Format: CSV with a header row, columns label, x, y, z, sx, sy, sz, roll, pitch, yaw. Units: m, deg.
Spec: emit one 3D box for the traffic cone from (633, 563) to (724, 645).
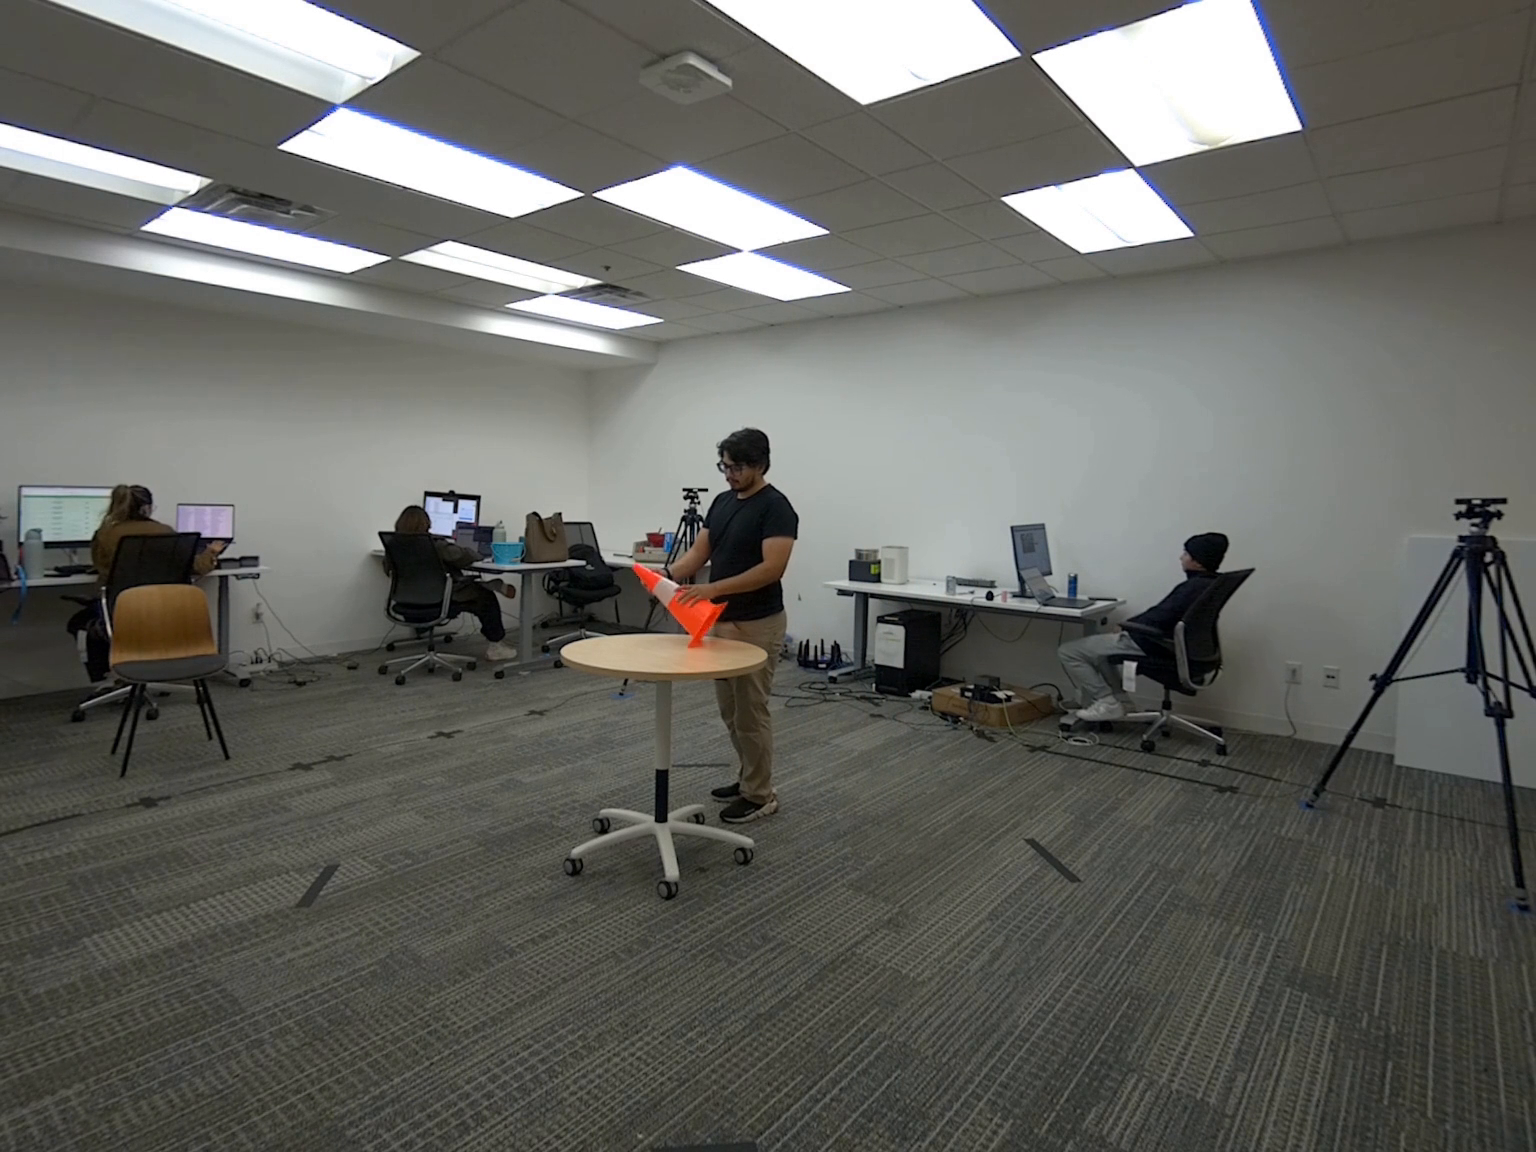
label,x,y,z,sx,sy,sz,roll,pitch,yaw
traffic cone,-0.392,0.077,3.357,0.390,0.203,0.202,36,7,11
